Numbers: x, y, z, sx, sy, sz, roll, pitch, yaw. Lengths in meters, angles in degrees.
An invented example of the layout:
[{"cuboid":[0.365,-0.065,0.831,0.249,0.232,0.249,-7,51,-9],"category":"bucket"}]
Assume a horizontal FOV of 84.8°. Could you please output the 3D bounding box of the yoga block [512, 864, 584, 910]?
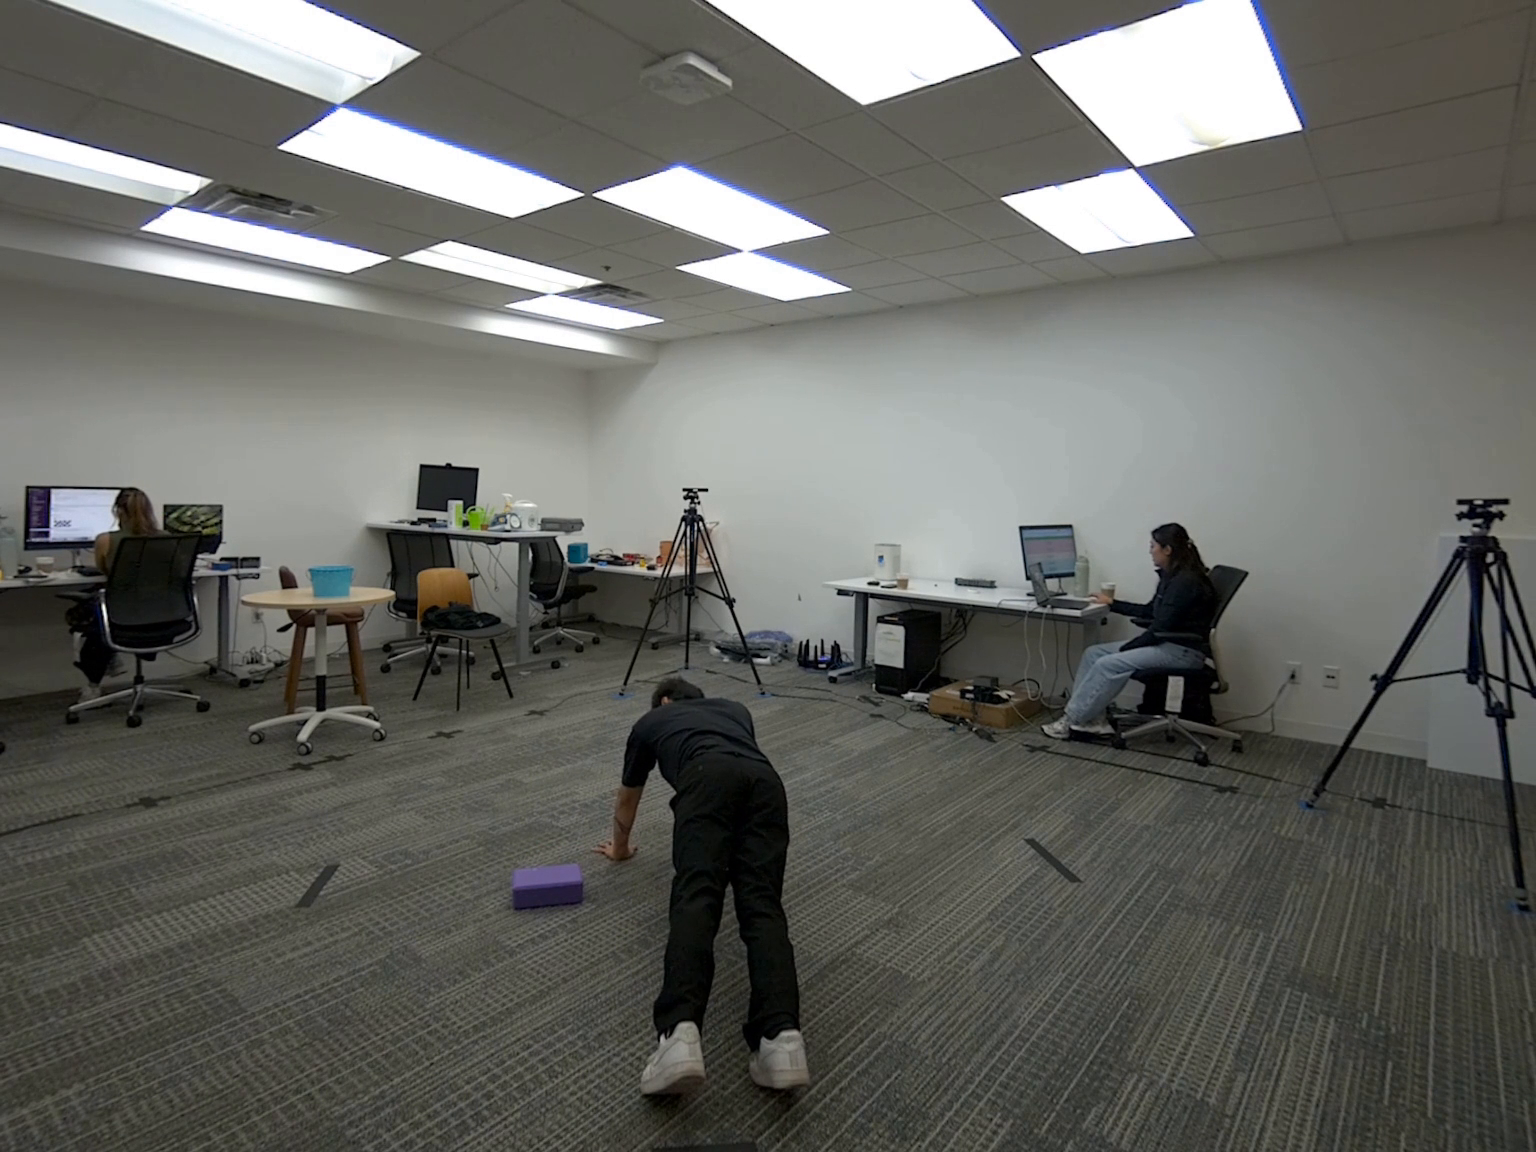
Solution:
[{"cuboid":[-0.757,1.043,2.879,0.226,0.076,0.152,1,5,-15],"category":"yoga block"}]
